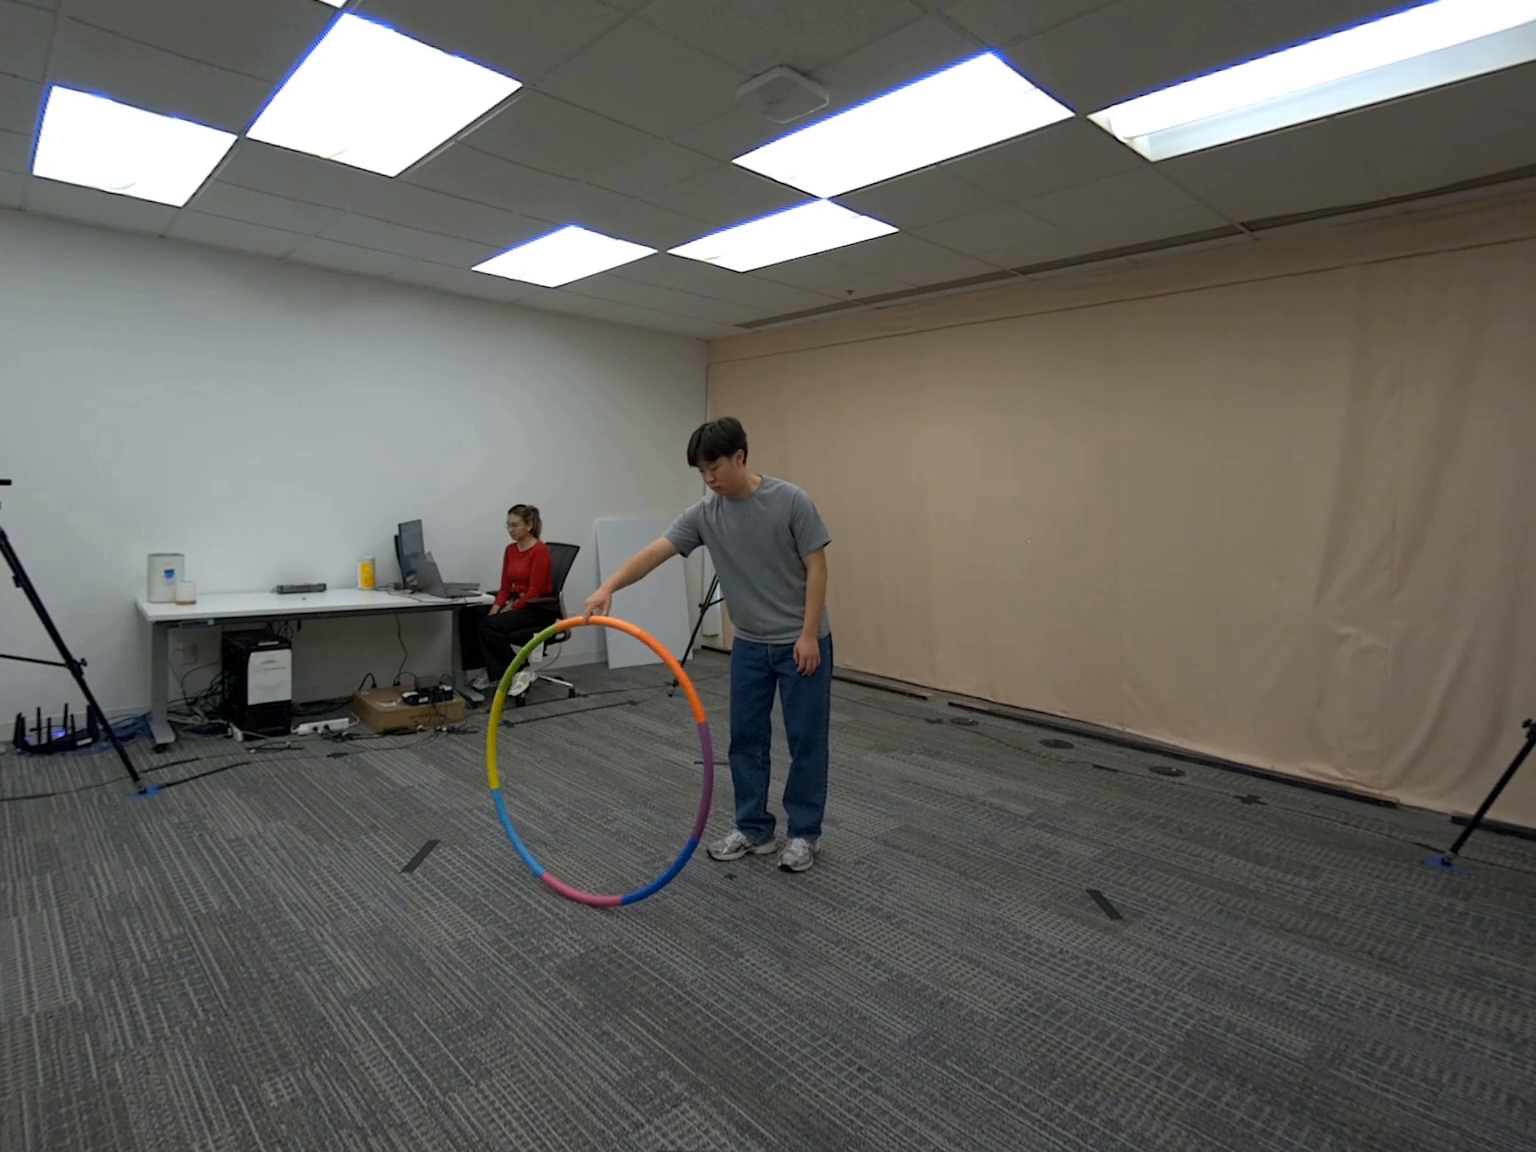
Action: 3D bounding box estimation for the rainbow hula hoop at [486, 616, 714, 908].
[{"bbox_3d":[-0.621,0.628,2.902,1.000,0.980,0.035,4,-2,31],"label":"rainbow hula hoop"}]
